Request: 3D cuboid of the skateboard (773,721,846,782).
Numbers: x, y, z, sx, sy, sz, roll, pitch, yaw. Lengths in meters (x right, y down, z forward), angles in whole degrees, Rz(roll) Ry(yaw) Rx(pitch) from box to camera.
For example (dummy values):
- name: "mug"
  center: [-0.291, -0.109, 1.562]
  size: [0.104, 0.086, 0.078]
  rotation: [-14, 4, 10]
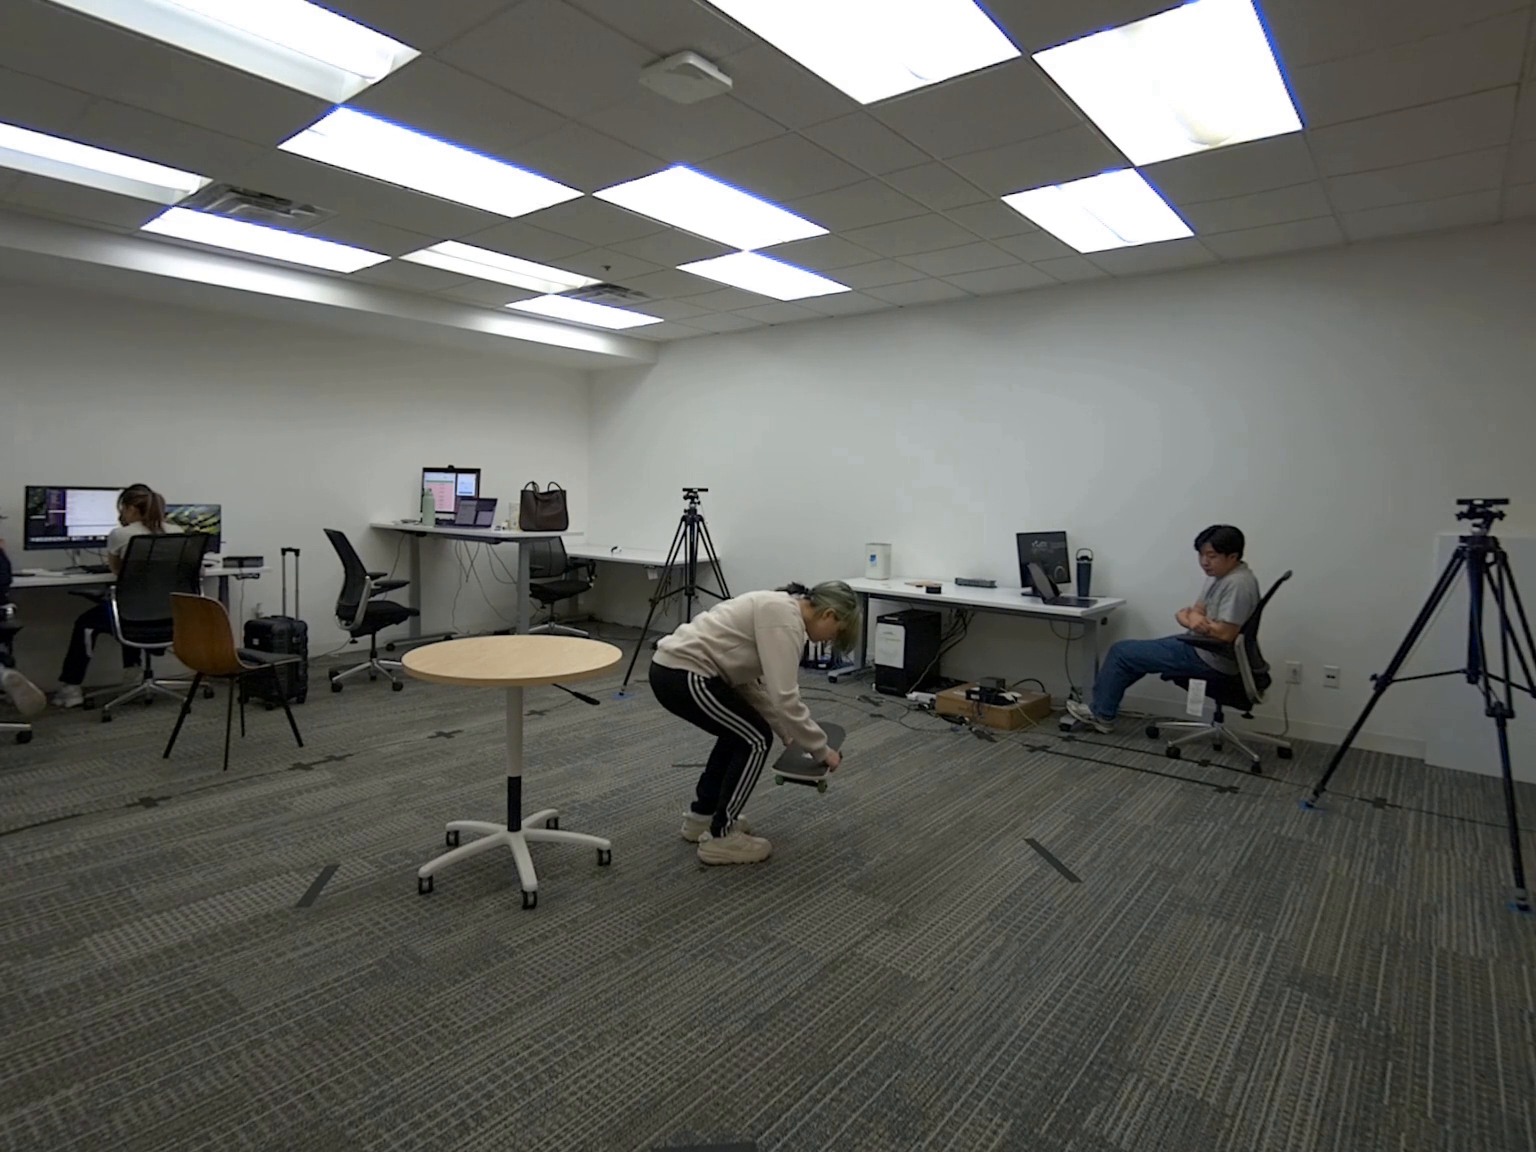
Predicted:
- name: "skateboard"
  center: [0.161, 0.701, 3.276]
  size: [0.196, 0.110, 0.776]
  rotation: [6, 5, 11]
